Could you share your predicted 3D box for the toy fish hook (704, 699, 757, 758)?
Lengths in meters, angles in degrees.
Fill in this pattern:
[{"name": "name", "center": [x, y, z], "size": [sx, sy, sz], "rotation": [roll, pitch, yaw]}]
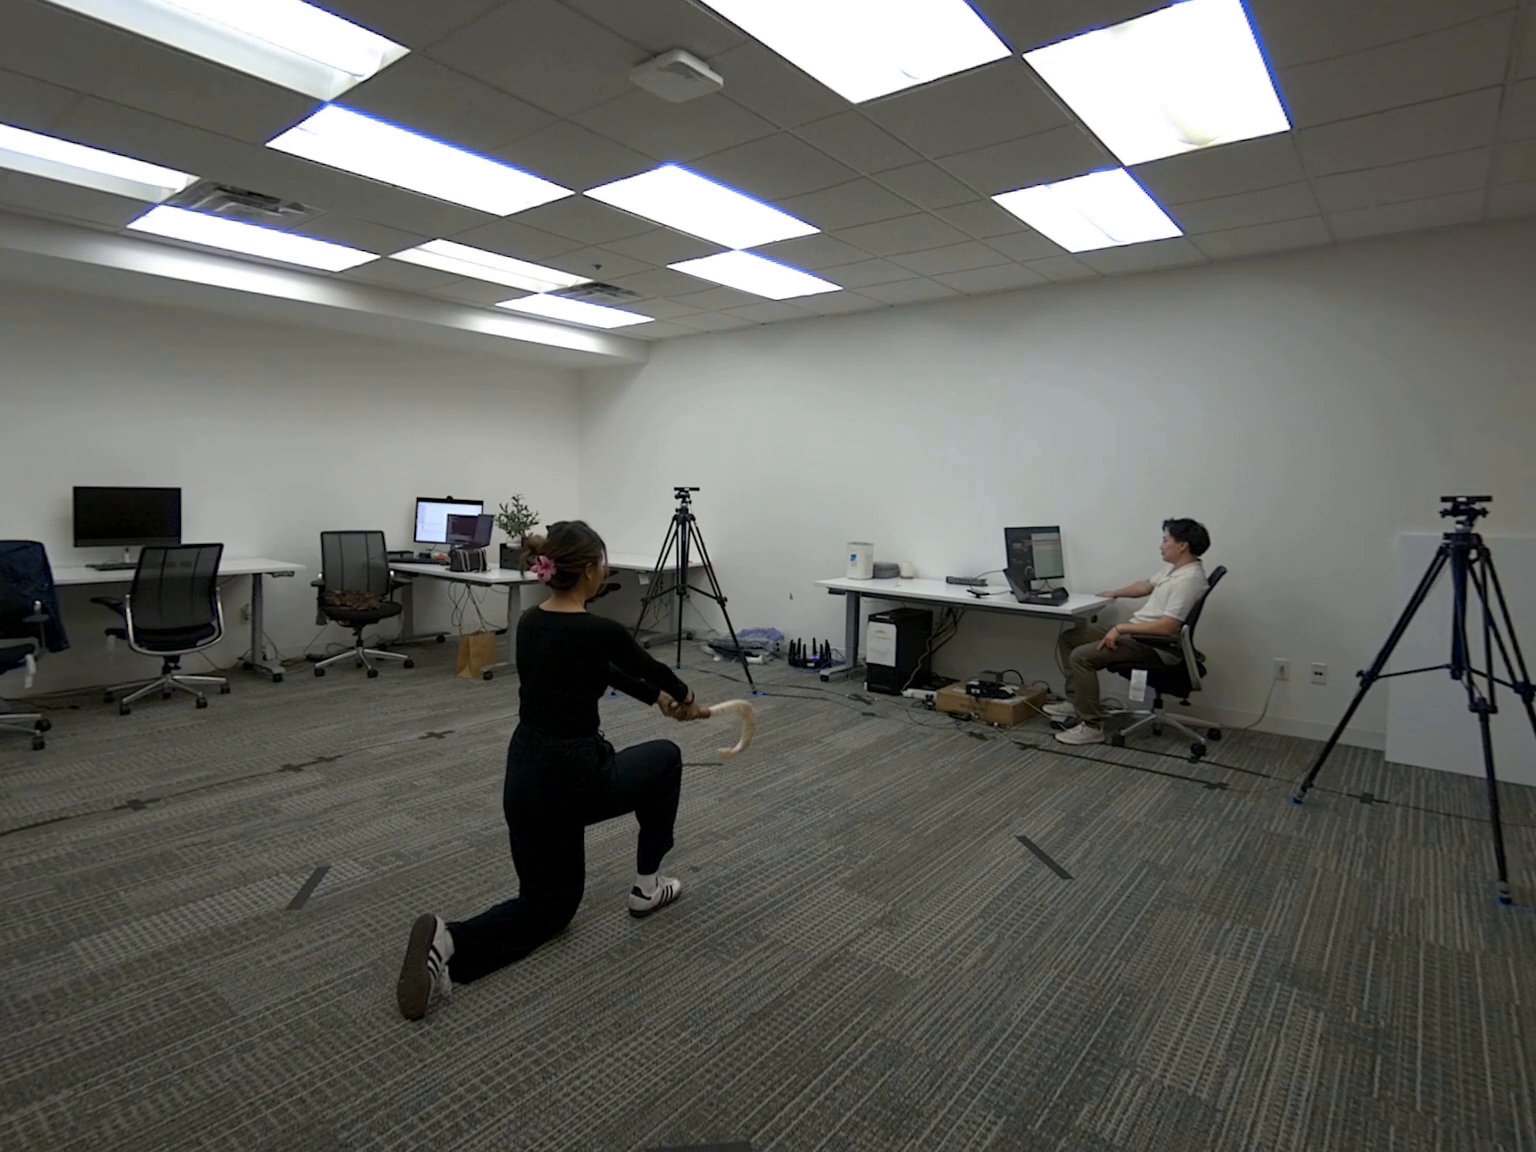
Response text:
[{"name": "toy fish hook", "center": [-0.210, 0.537, 3.195], "size": [0.050, 0.226, 0.487], "rotation": [-3, -13, 40]}]
